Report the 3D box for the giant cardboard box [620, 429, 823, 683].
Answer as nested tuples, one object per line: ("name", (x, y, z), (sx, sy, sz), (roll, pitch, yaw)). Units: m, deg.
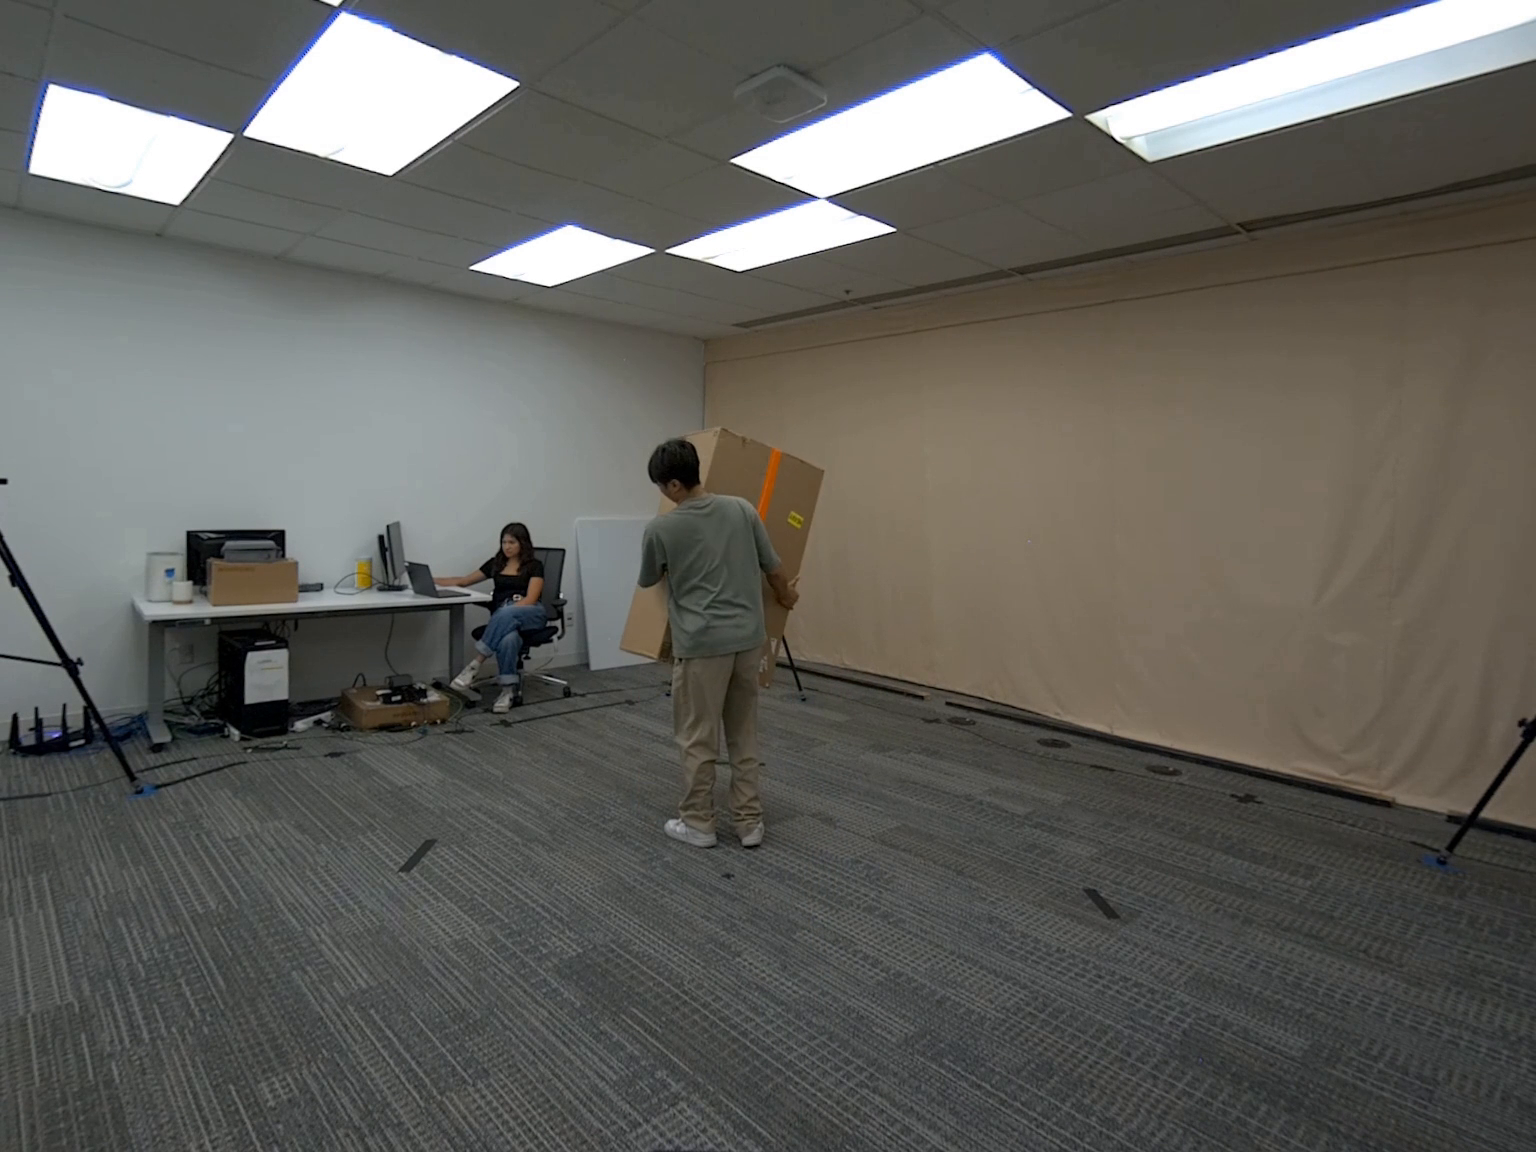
("giant cardboard box", (-0.211, -0.072, 3.814), (0.563, 1.030, 0.435), (19, -9, -30))
